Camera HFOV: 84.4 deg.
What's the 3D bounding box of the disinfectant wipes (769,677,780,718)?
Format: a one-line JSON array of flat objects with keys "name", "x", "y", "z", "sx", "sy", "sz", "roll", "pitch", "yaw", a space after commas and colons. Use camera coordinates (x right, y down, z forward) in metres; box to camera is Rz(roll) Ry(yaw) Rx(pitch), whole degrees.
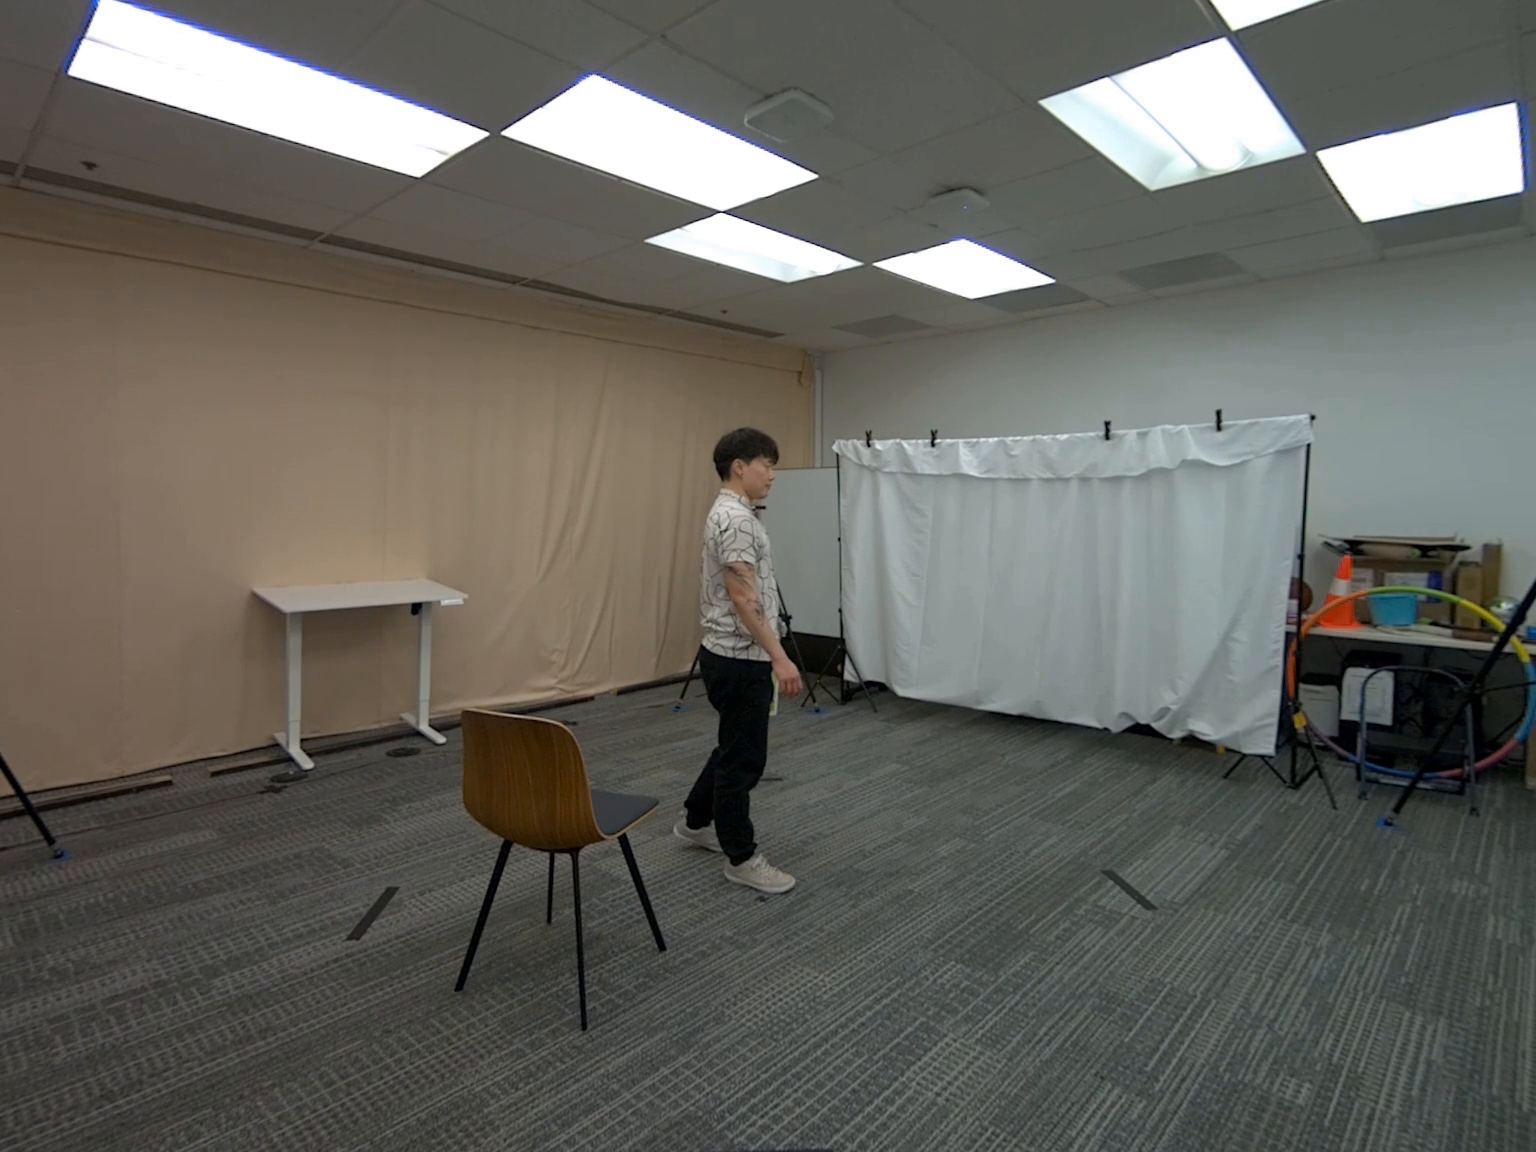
[{"name": "disinfectant wipes", "x": -0.012, "y": 0.458, "z": 3.446, "sx": 0.118, "sy": 0.217, "sz": 0.118, "roll": 1, "pitch": 2, "yaw": -2}]
